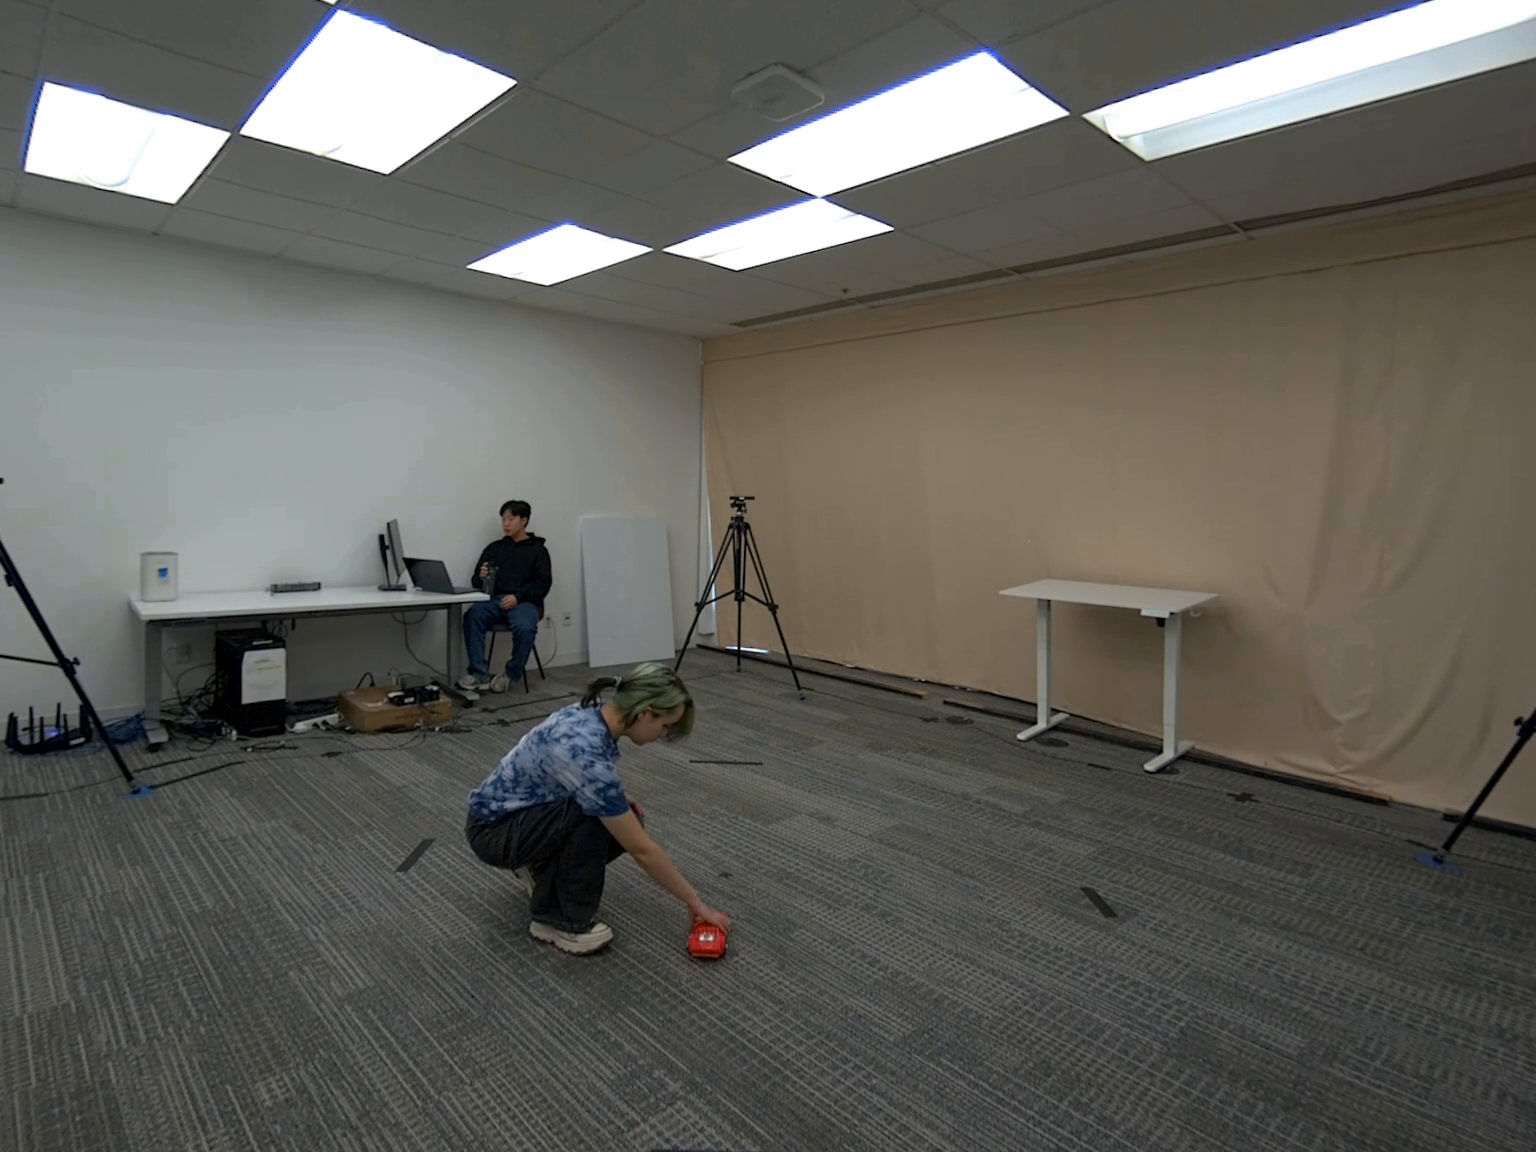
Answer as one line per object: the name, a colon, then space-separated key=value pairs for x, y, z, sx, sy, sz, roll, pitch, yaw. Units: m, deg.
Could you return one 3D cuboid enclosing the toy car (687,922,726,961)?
toy car: x=-0.197 y=1.122 z=2.590 sx=0.130 sy=0.083 sz=0.253 roll=3 pitch=-7 yaw=-1
